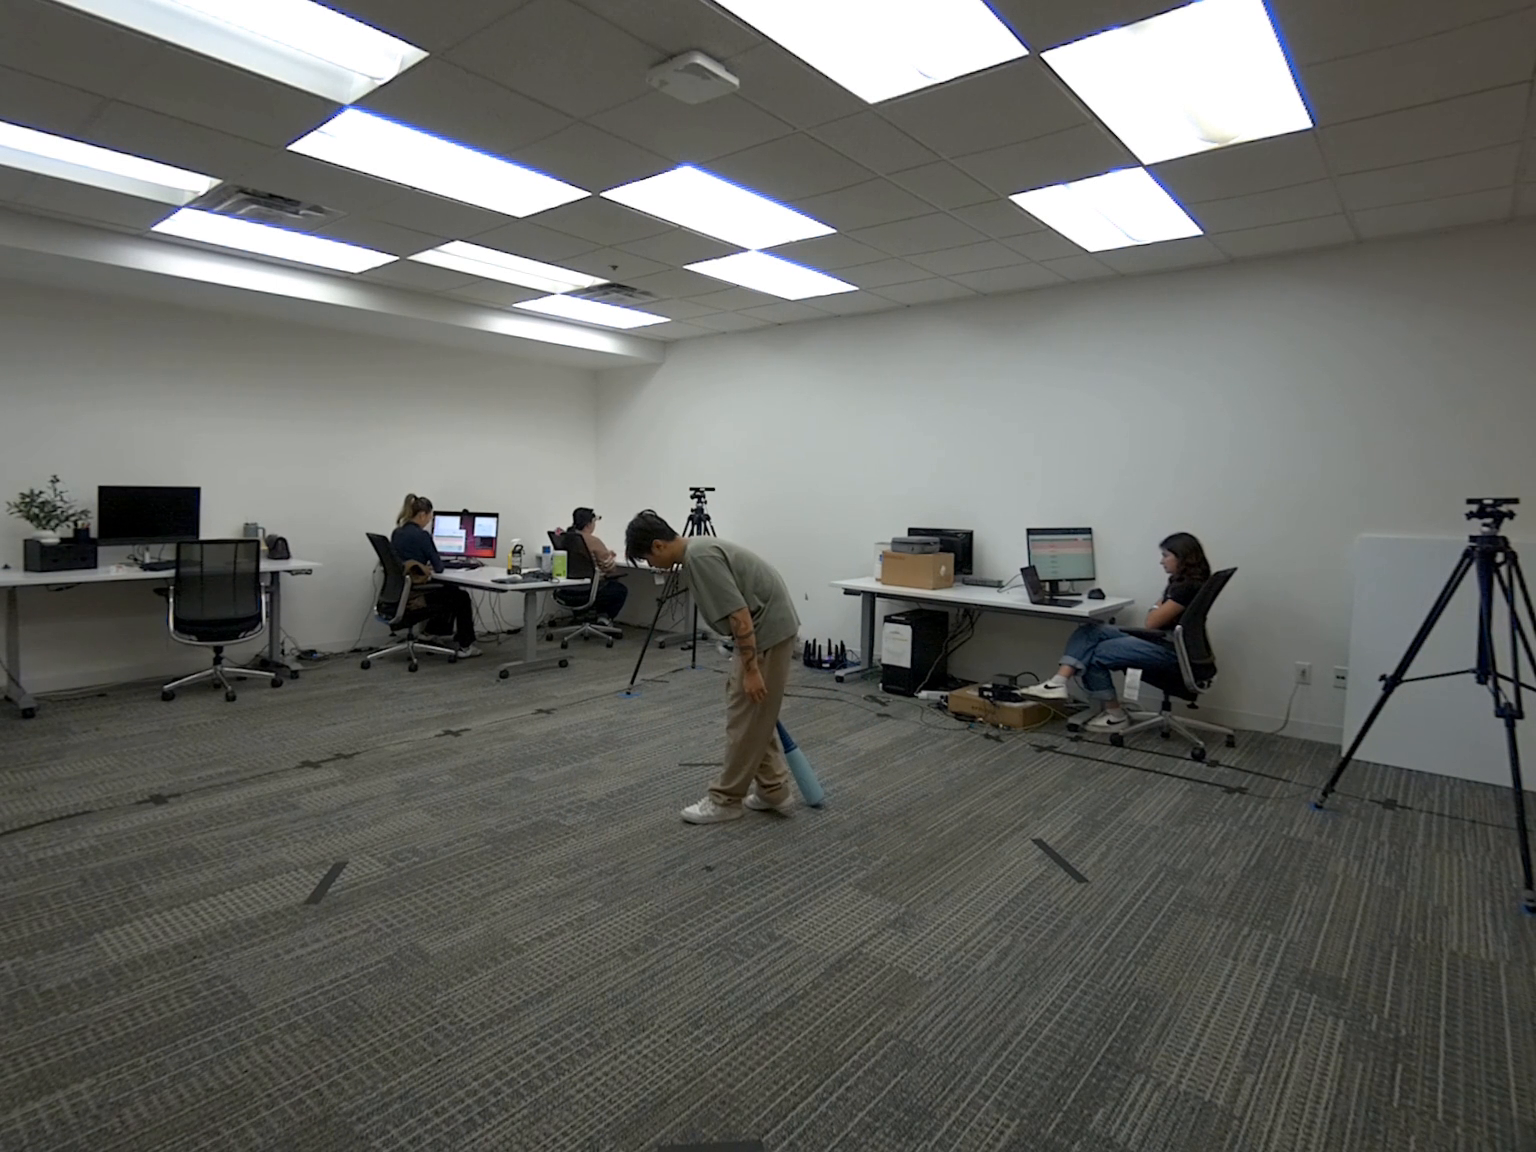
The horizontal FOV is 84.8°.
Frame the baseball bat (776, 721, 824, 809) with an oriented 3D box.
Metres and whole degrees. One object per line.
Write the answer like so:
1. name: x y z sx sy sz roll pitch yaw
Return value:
1. baseball bat: 0.085 0.764 3.803 0.089 0.551 0.088 -27 -11 -6
